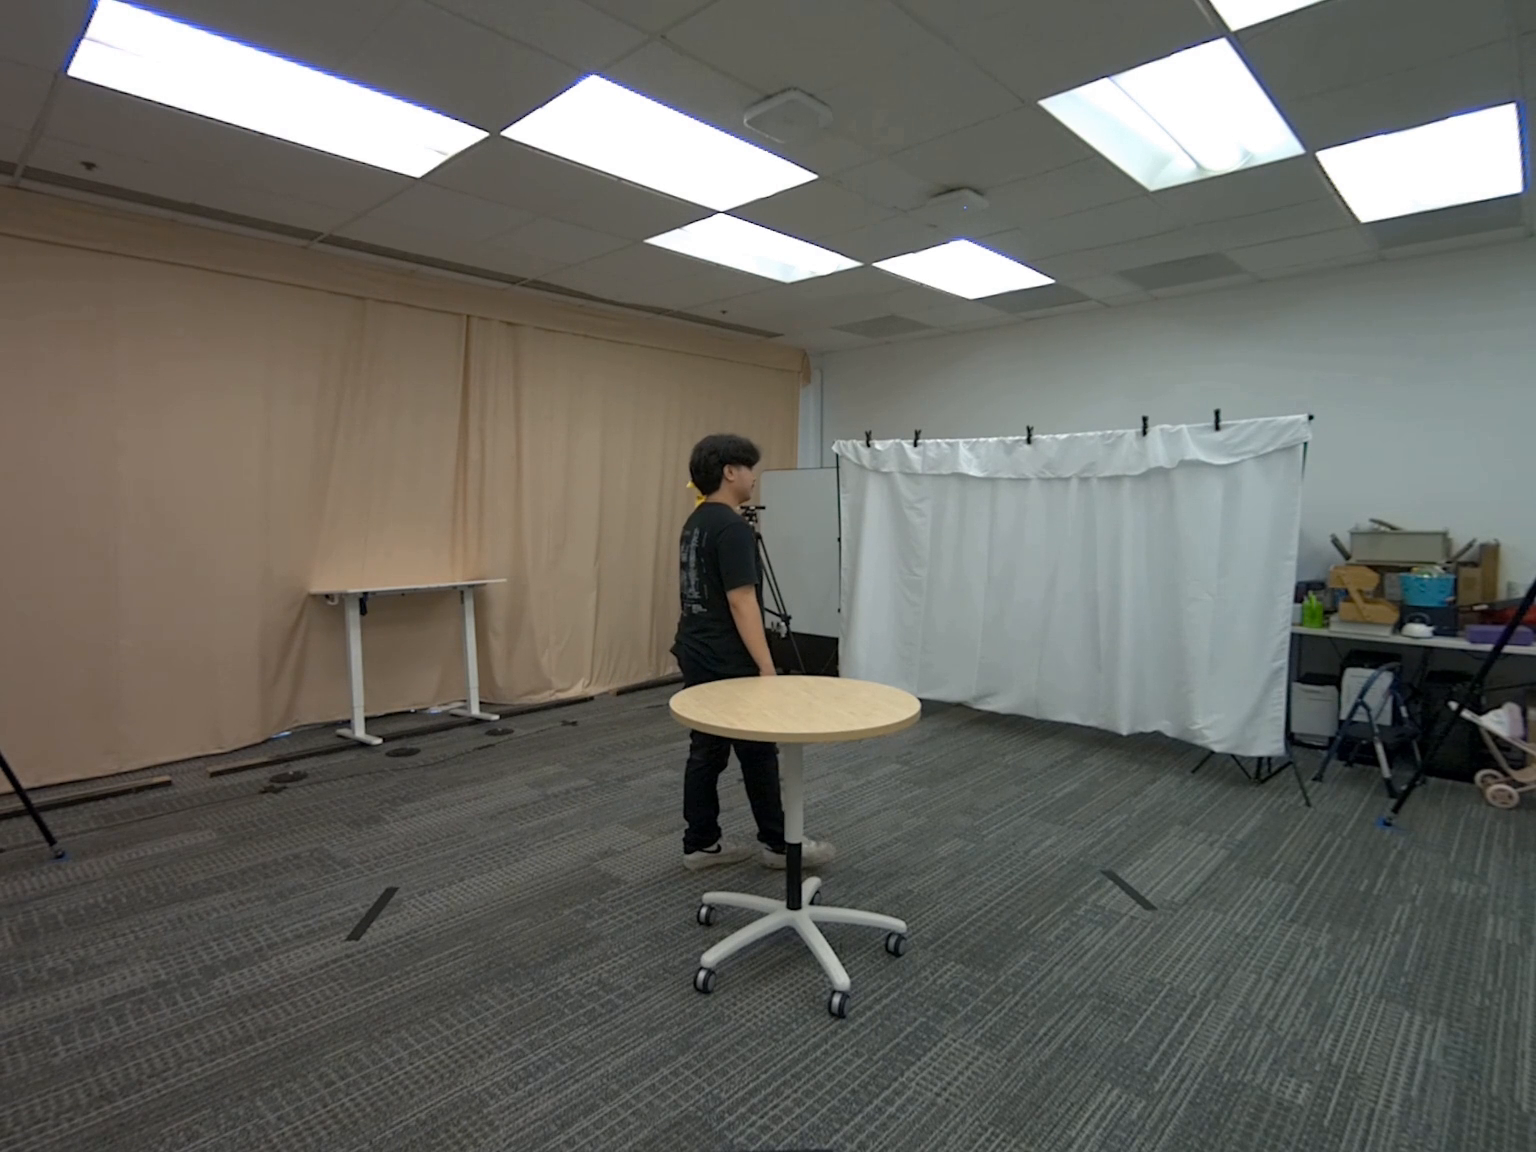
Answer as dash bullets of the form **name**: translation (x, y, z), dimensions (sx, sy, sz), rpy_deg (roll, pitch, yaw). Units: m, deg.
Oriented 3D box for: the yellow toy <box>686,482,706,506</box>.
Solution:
- **yellow toy**: translation (-0.205, -0.392, 3.404), dimensions (0.195, 0.230, 0.203), rpy_deg (7, 7, 10)
